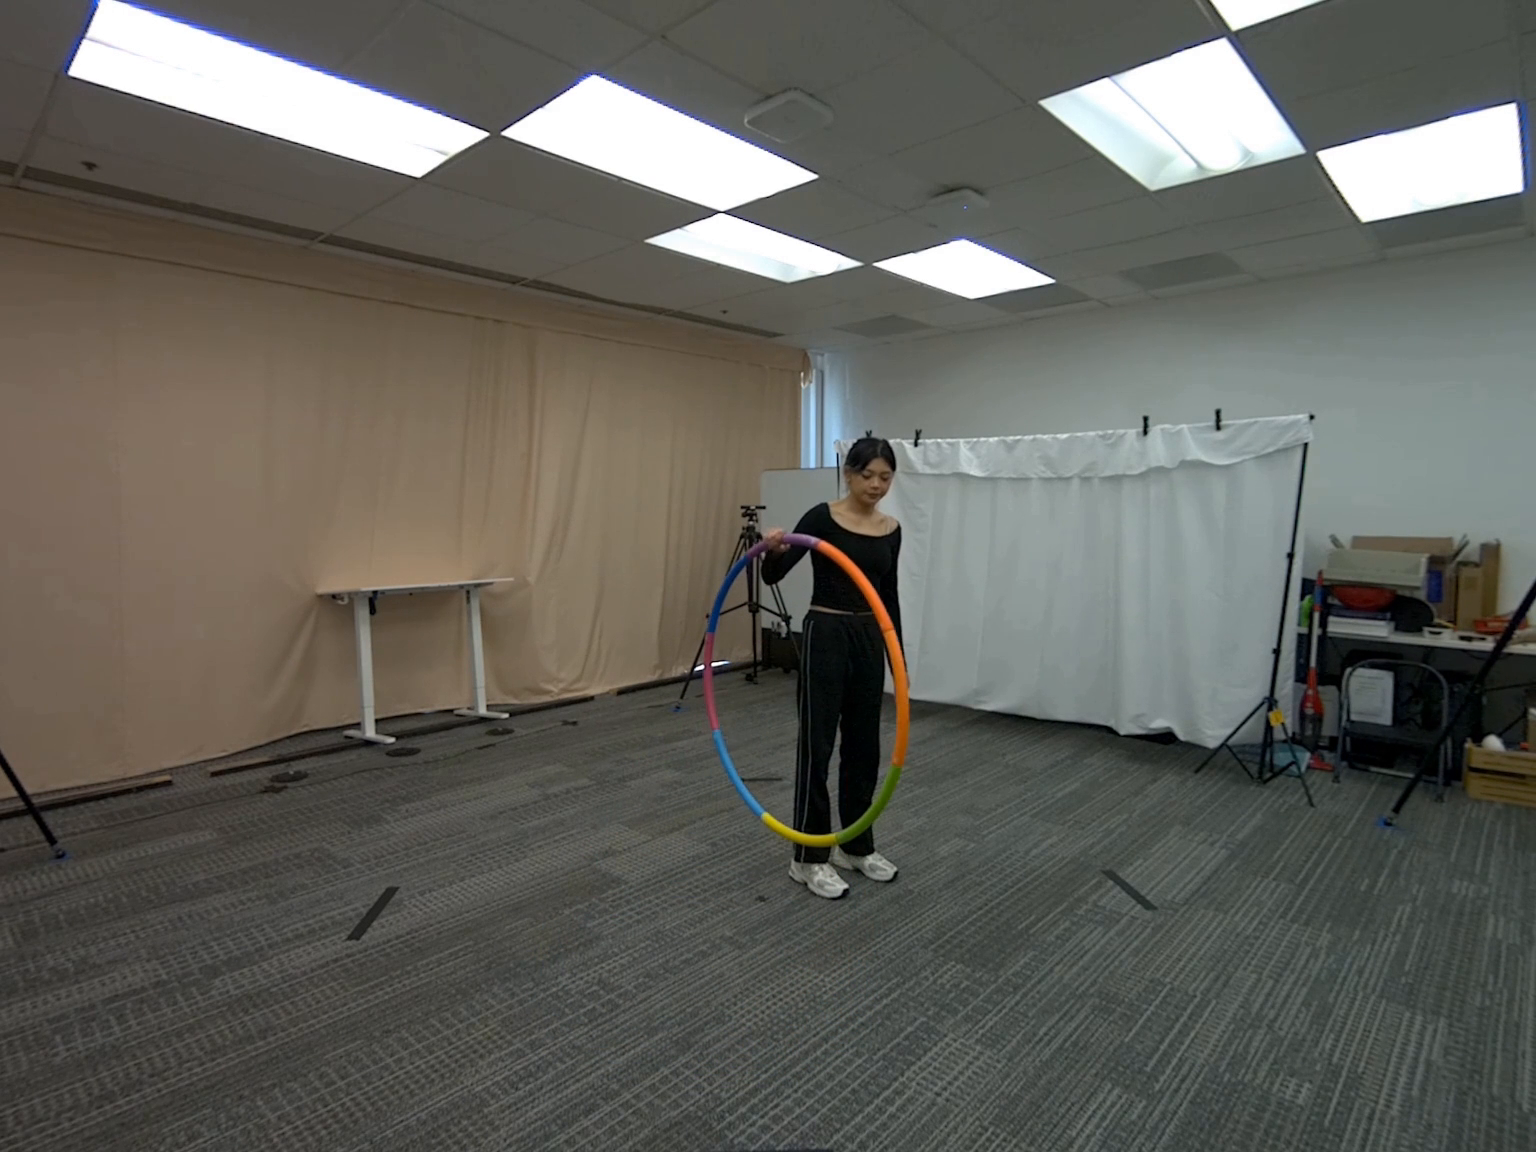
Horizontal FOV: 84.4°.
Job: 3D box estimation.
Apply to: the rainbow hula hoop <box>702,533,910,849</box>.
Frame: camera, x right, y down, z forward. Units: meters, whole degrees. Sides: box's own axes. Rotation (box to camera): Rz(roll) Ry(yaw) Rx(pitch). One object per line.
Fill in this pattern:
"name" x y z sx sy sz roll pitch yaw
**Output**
"rainbow hula hoop" 0.083 0.358 2.718 0.034 0.977 1.010 0 3 -37
